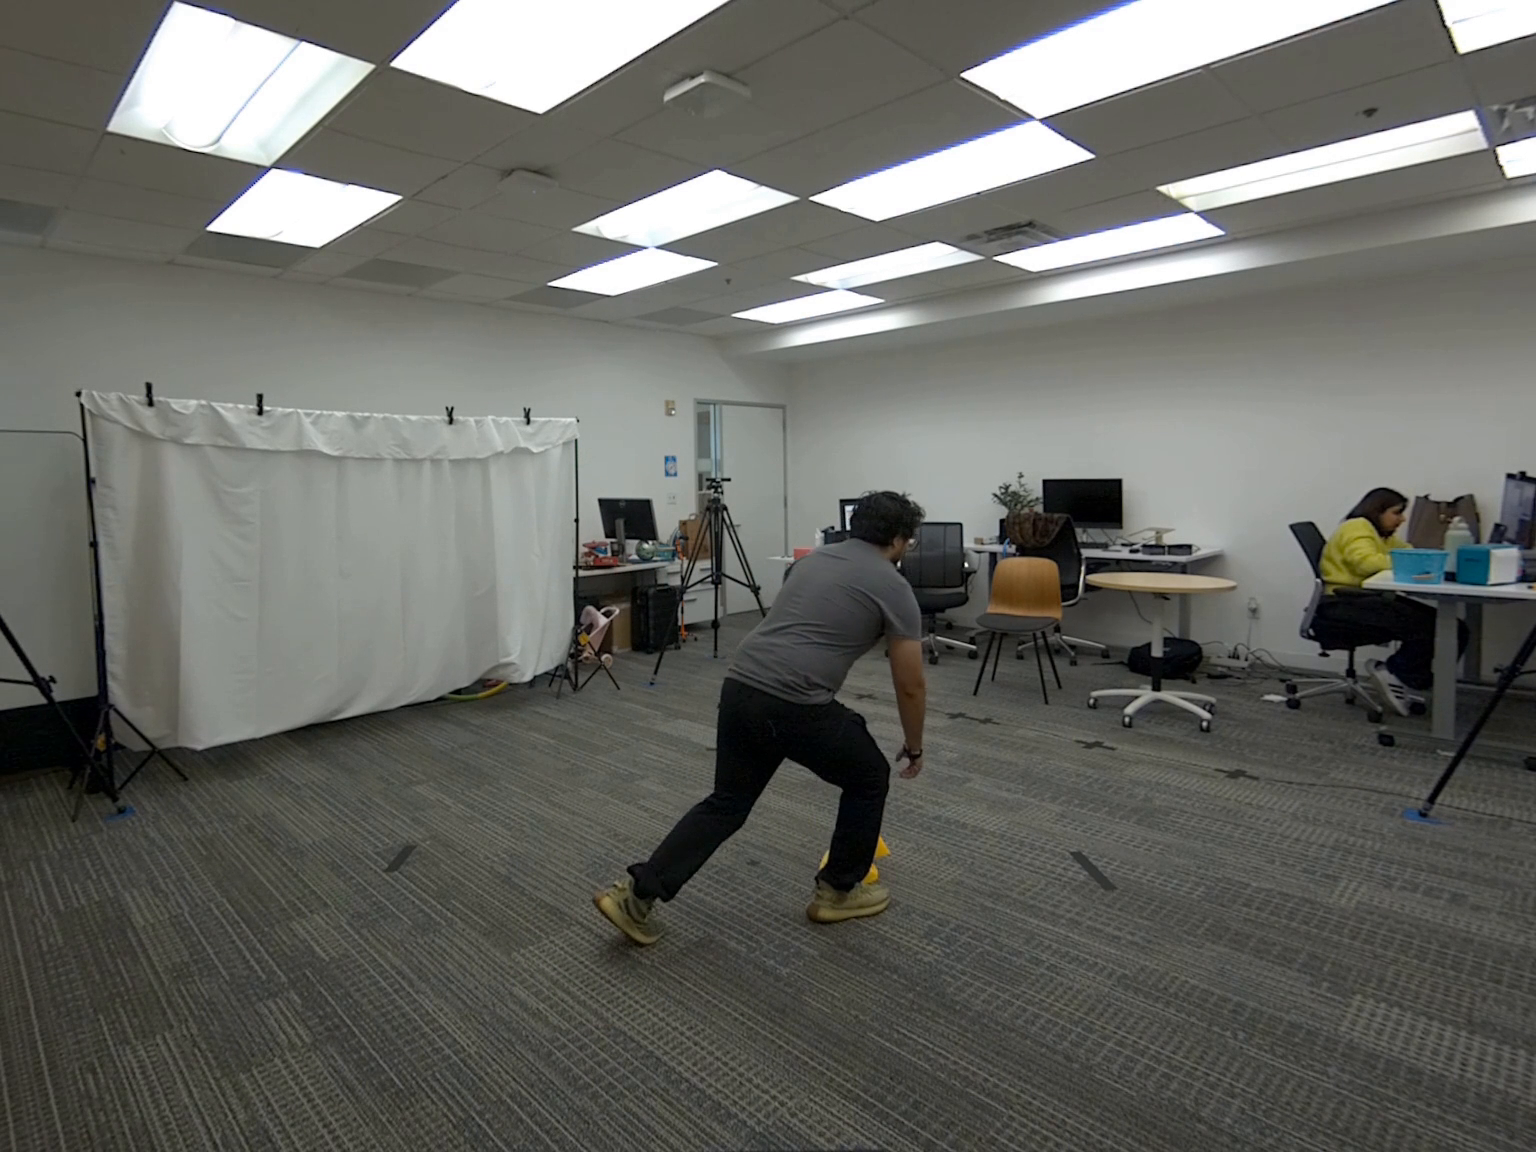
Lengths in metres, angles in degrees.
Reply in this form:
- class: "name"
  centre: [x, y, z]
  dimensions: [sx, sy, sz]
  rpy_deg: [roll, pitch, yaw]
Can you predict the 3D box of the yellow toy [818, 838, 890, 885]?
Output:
- class: "yellow toy"
  centre: [0.302, 0.935, 3.017]
  dimensions: [0.188, 0.230, 0.211]
  rpy_deg: [-6, 6, -35]
